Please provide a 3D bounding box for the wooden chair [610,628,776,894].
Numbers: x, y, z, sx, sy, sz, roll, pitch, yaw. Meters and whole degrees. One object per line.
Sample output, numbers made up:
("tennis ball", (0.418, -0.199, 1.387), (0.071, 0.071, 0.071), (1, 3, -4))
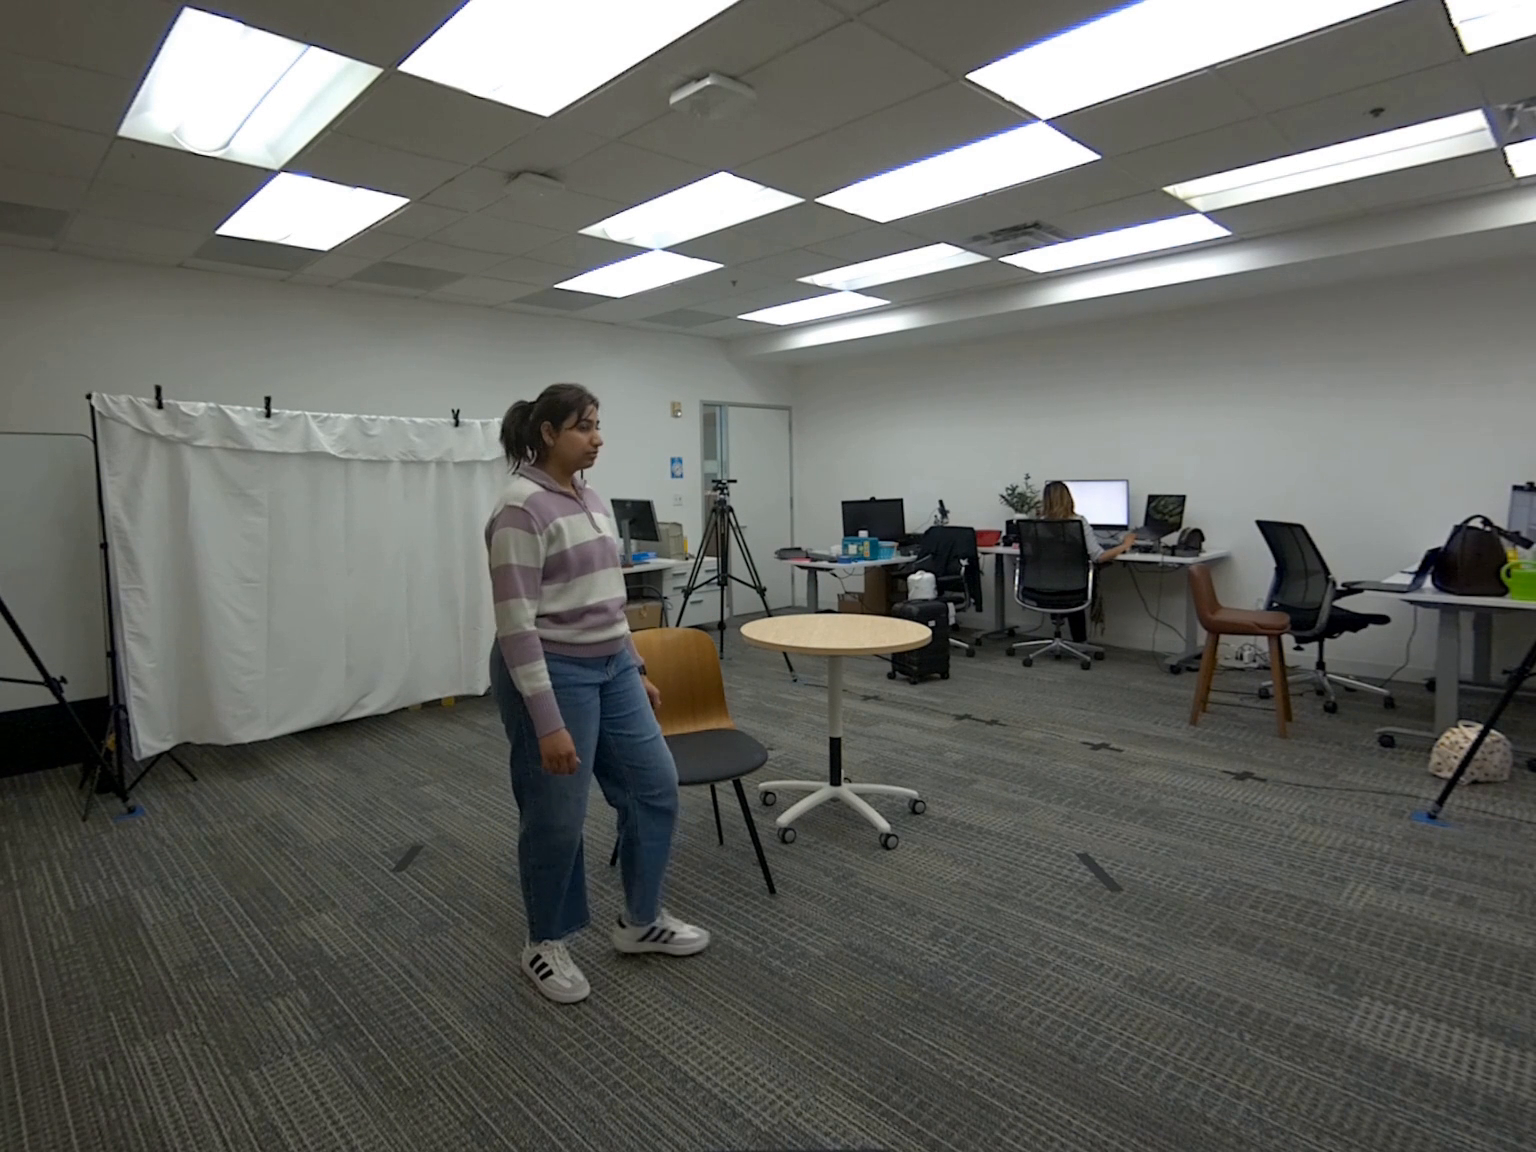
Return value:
("wooden chair", (-0.275, 0.641, 2.955), (0.468, 0.878, 0.534), (-3, 0, -25))
